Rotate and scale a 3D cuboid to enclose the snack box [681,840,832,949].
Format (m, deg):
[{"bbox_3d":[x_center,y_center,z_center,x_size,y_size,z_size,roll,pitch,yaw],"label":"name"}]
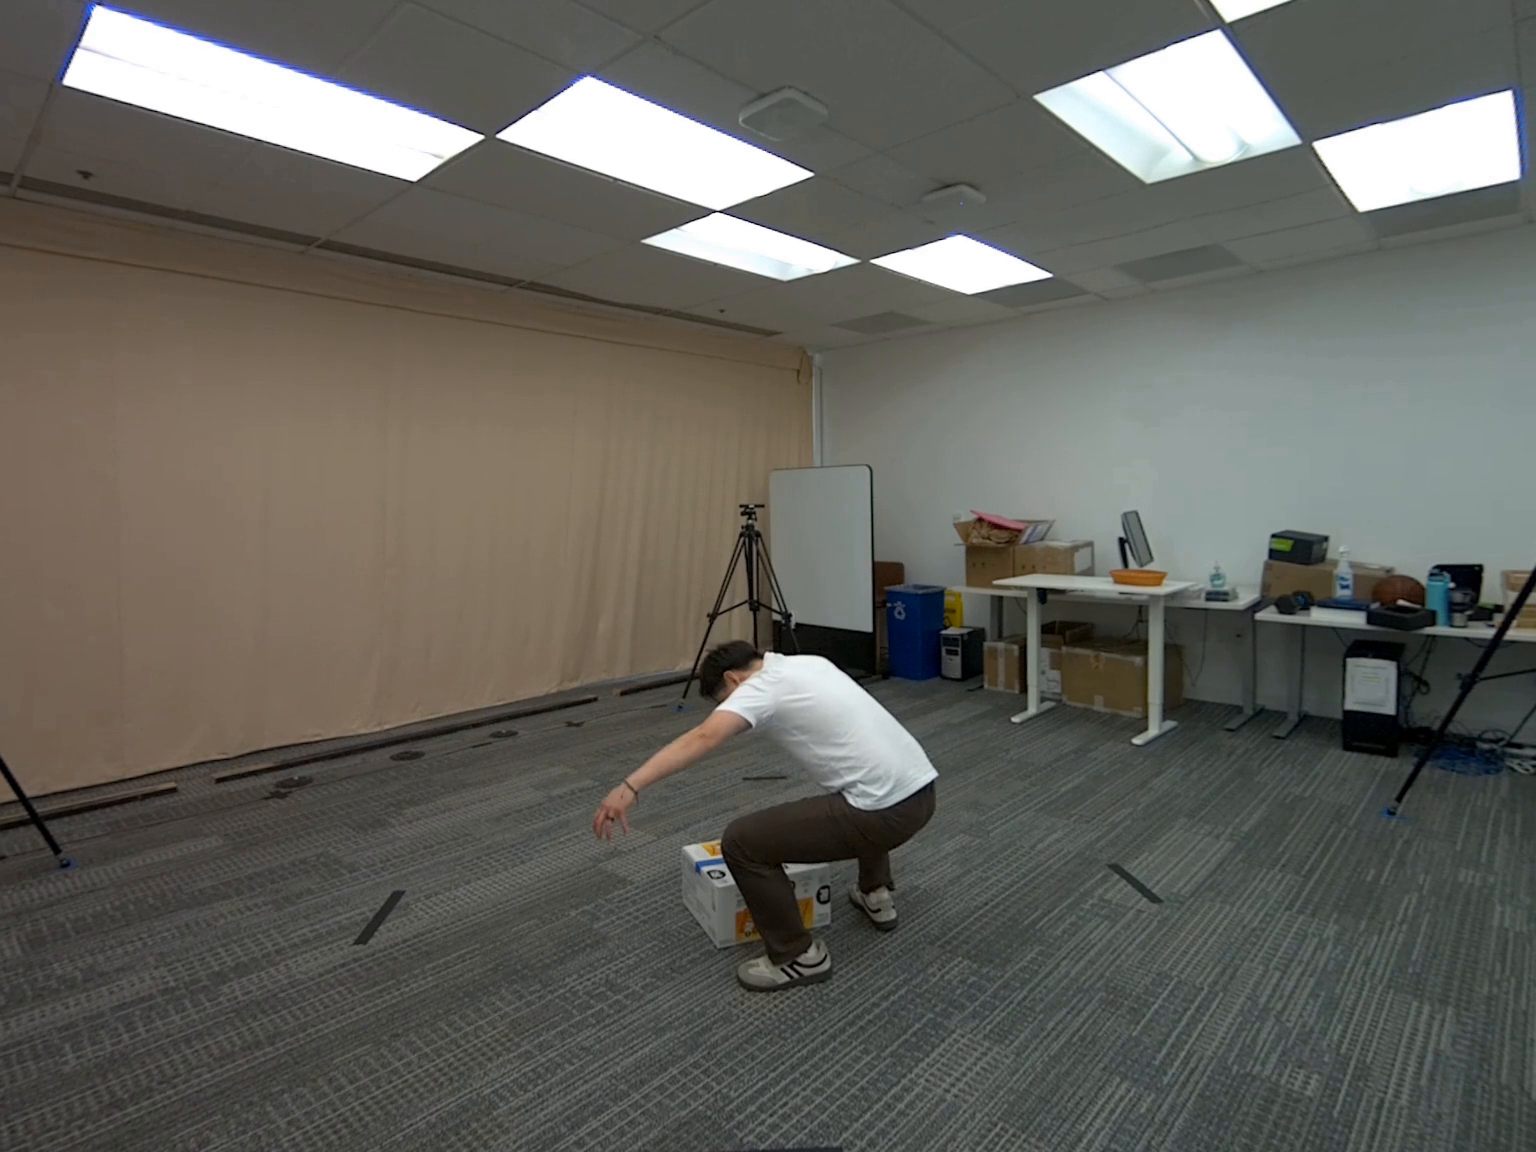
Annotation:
[{"bbox_3d":[-0.044,1.051,2.858,0.396,0.205,0.349,-3,5,-23],"label":"snack box"}]
